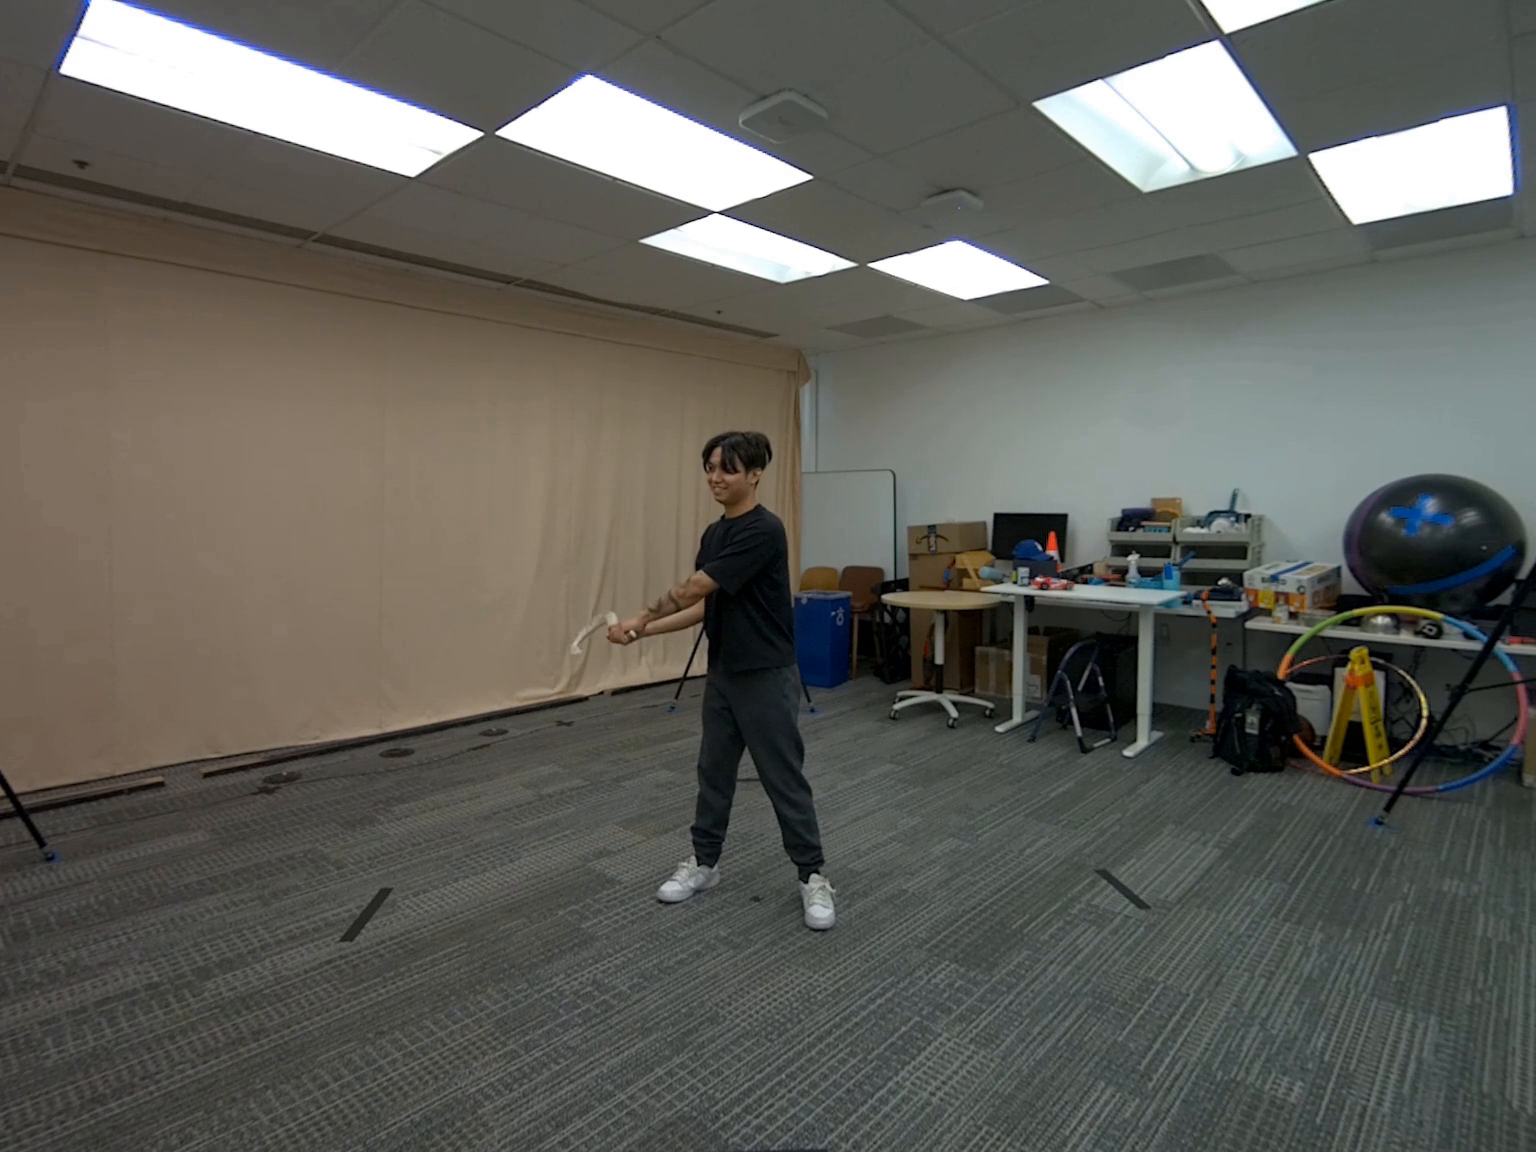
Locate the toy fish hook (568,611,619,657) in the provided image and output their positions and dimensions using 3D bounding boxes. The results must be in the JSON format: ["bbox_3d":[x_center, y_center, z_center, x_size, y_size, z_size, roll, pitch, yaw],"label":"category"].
[{"bbox_3d":[-0.608,0.235,3.014,0.224,0.047,0.519,-48,20,-14],"label":"toy fish hook"}]
